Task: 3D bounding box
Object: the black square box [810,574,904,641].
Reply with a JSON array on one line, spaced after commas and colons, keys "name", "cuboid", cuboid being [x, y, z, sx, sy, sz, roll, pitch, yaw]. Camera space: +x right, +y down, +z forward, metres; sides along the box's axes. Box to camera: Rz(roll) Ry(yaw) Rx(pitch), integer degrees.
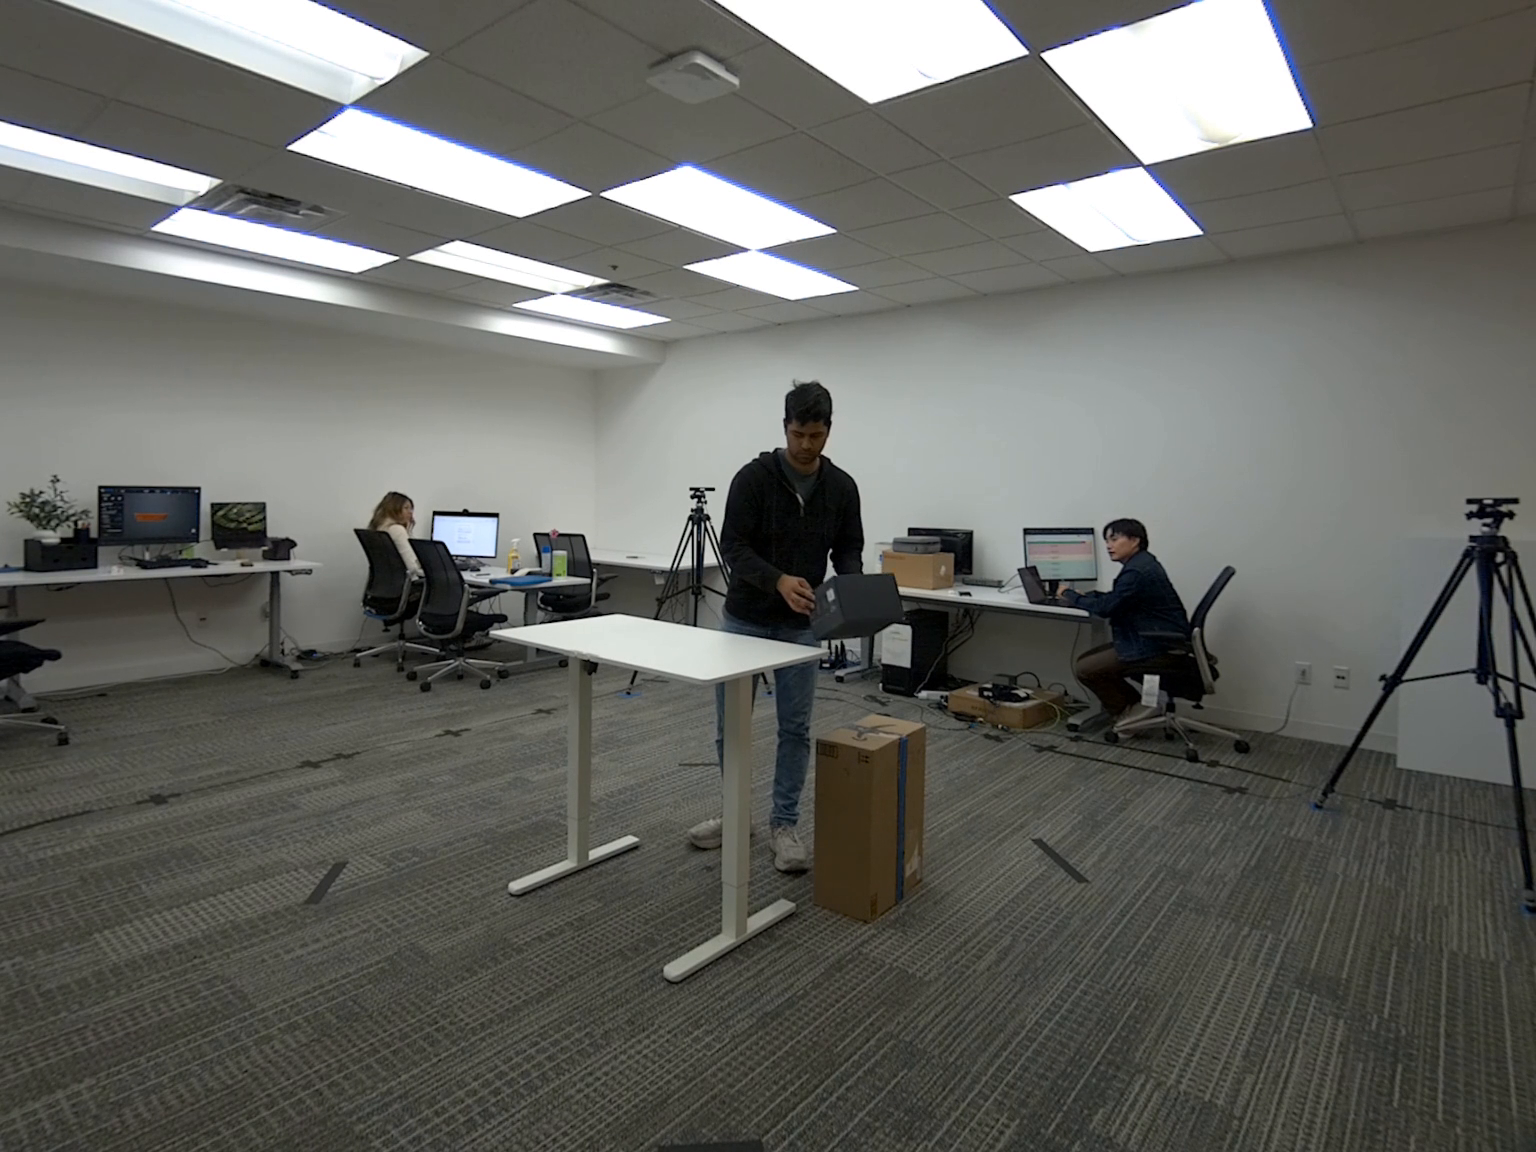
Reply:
[{"name": "black square box", "cuboid": [0.260, 0.110, 2.794, 0.223, 0.159, 0.217, -2, -20, -24]}]
